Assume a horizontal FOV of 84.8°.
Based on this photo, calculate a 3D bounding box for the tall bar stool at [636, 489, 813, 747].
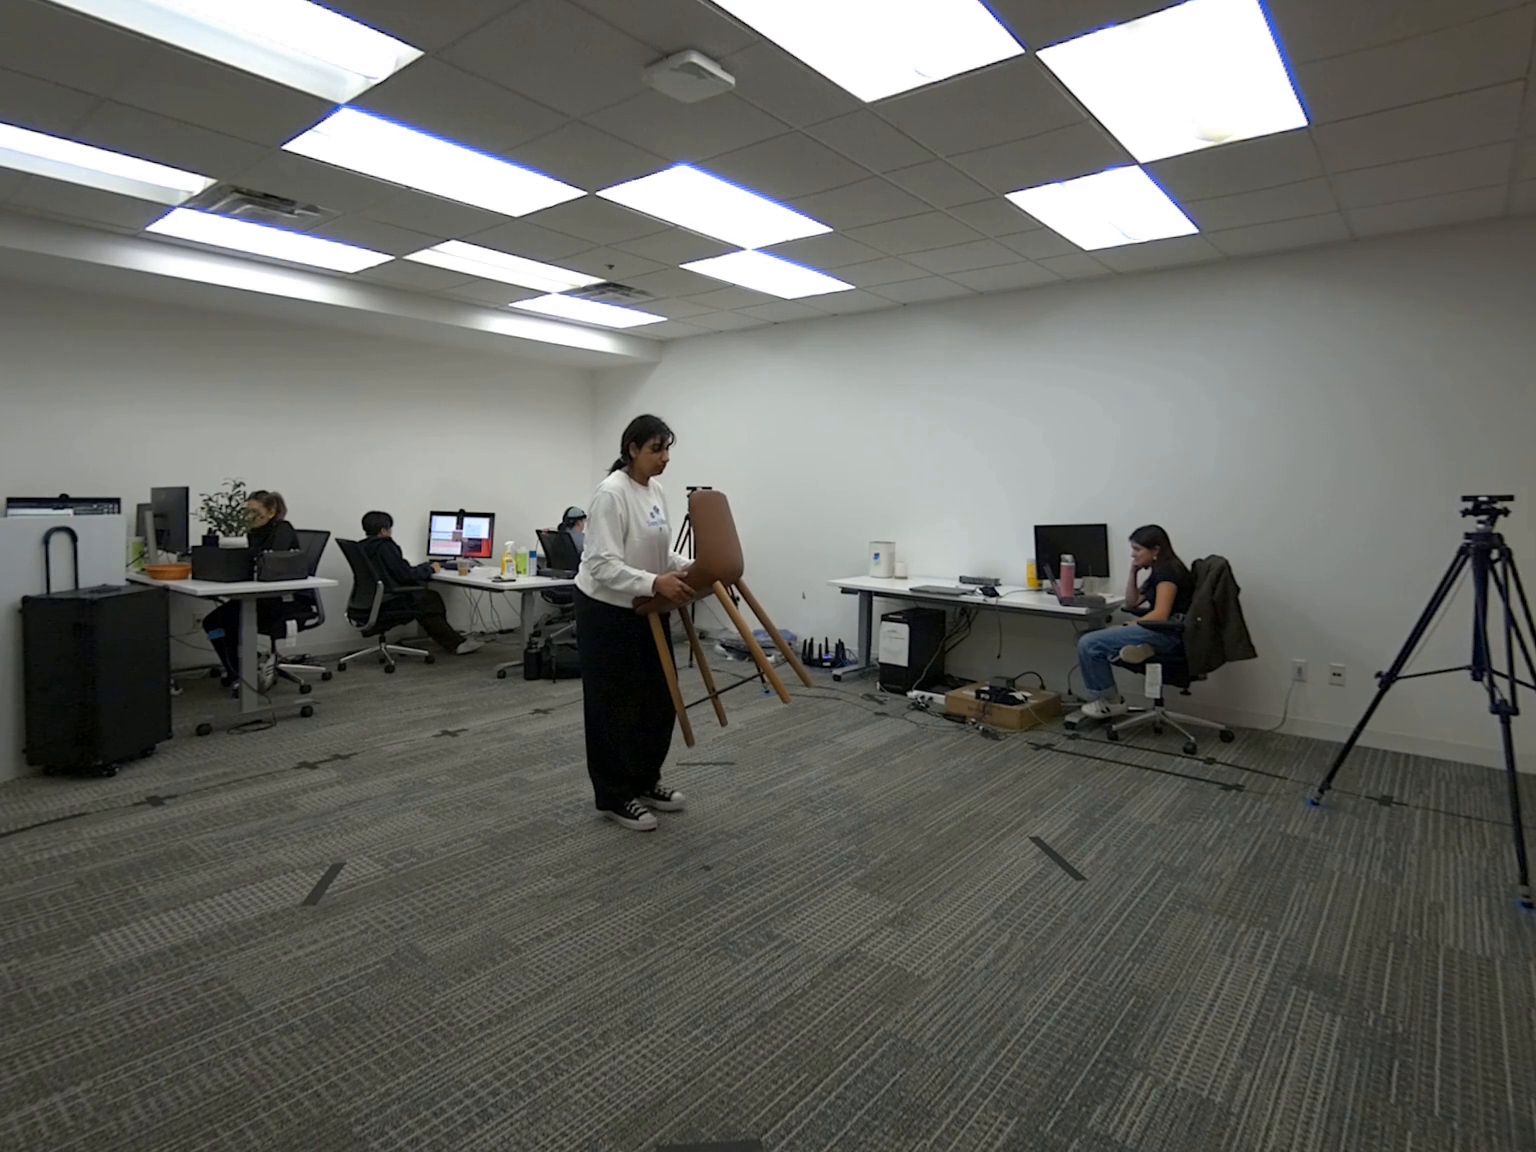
[{"bbox_3d":[-0.239,0.159,3.427,0.472,0.899,0.447,-26,-8,19],"label":"tall bar stool"}]
